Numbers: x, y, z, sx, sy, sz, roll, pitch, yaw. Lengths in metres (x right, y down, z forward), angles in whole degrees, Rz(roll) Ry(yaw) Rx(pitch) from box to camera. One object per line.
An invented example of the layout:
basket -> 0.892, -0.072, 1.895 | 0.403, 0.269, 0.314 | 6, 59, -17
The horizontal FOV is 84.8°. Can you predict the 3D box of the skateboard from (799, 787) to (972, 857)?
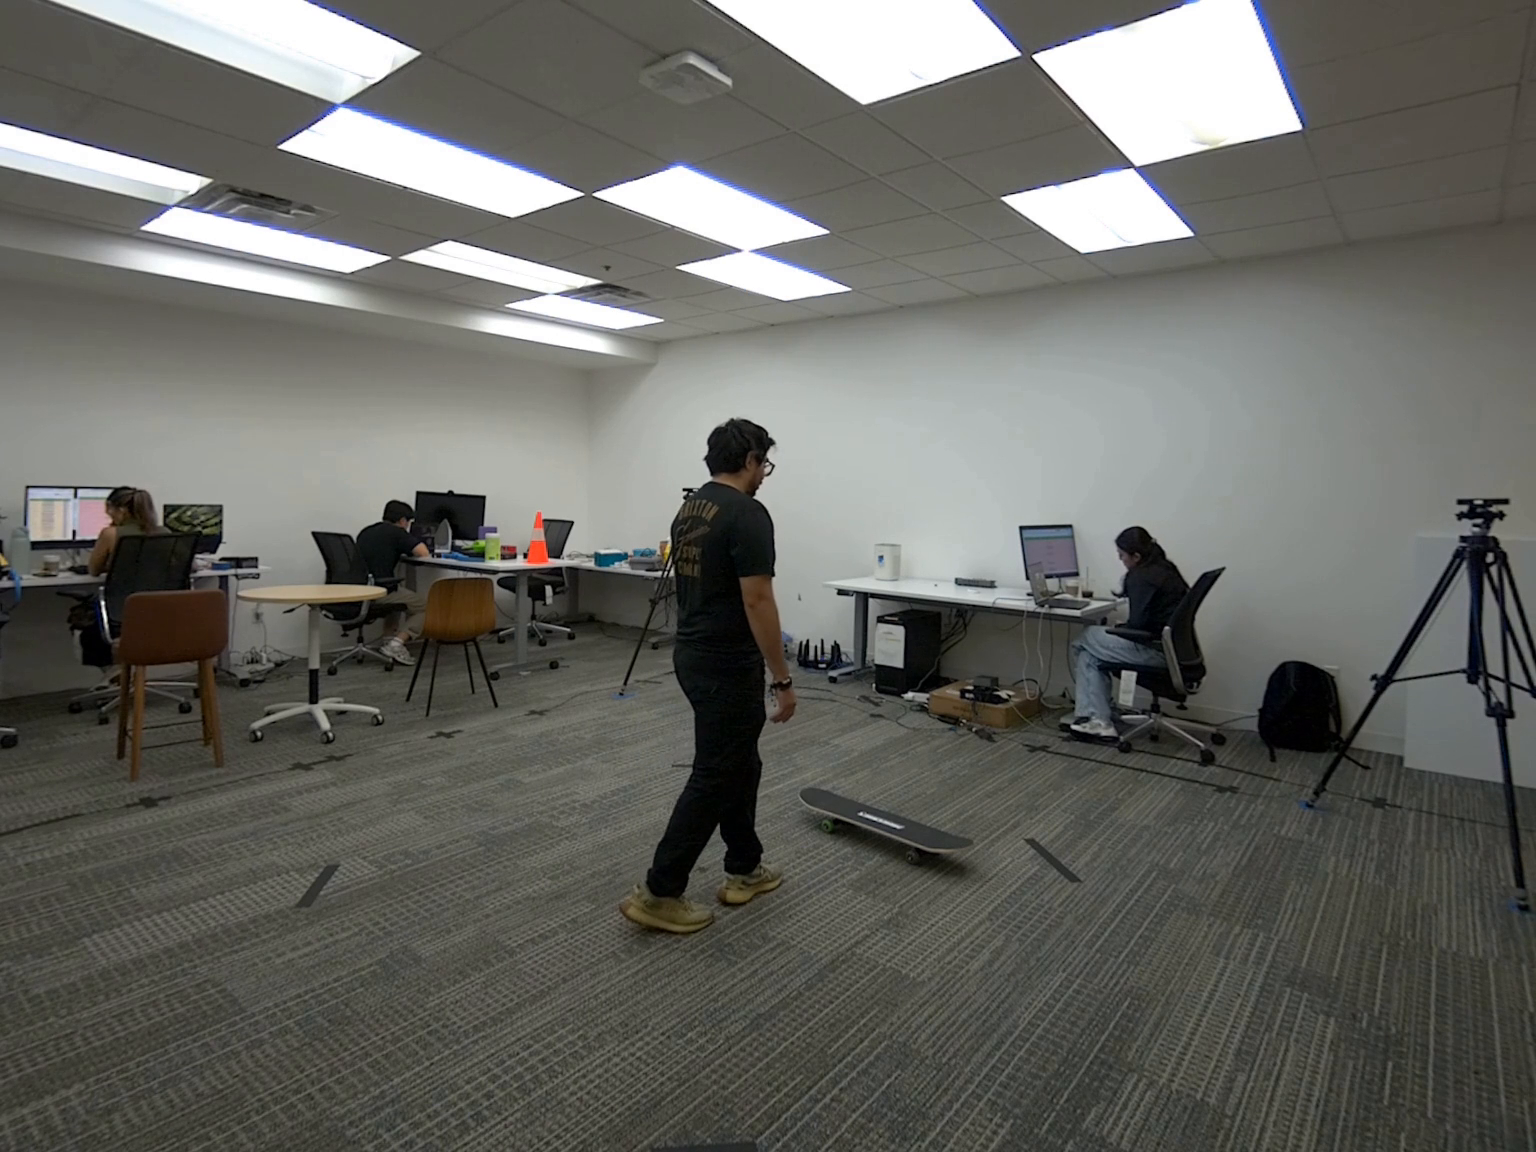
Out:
skateboard -> 0.440, 1.001, 3.390 | 0.813, 0.110, 0.187 | 7, 7, 43
